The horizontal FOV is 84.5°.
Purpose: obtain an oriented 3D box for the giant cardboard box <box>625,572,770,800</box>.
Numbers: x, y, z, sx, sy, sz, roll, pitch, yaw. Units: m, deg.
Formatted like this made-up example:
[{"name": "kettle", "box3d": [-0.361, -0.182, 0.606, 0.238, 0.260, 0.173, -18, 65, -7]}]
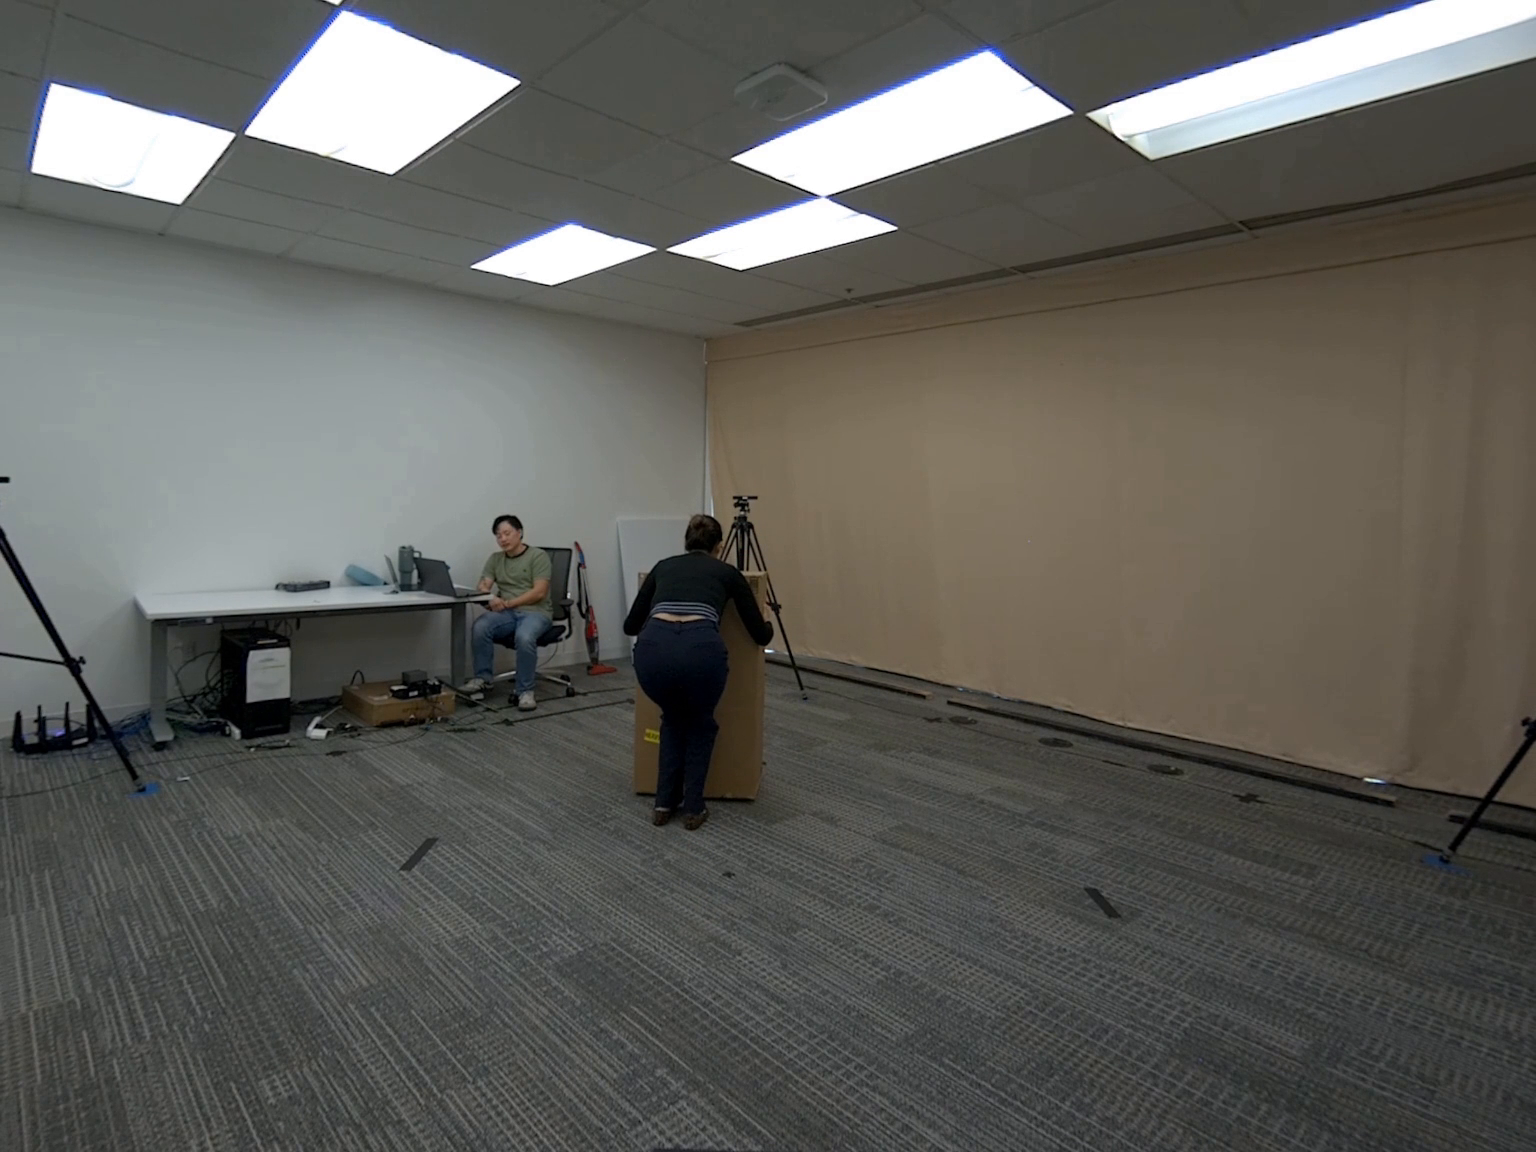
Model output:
[{"name": "giant cardboard box", "box3d": [-0.325, 0.496, 4.075, 0.580, 1.025, 0.424, 2, 1, 4]}]
